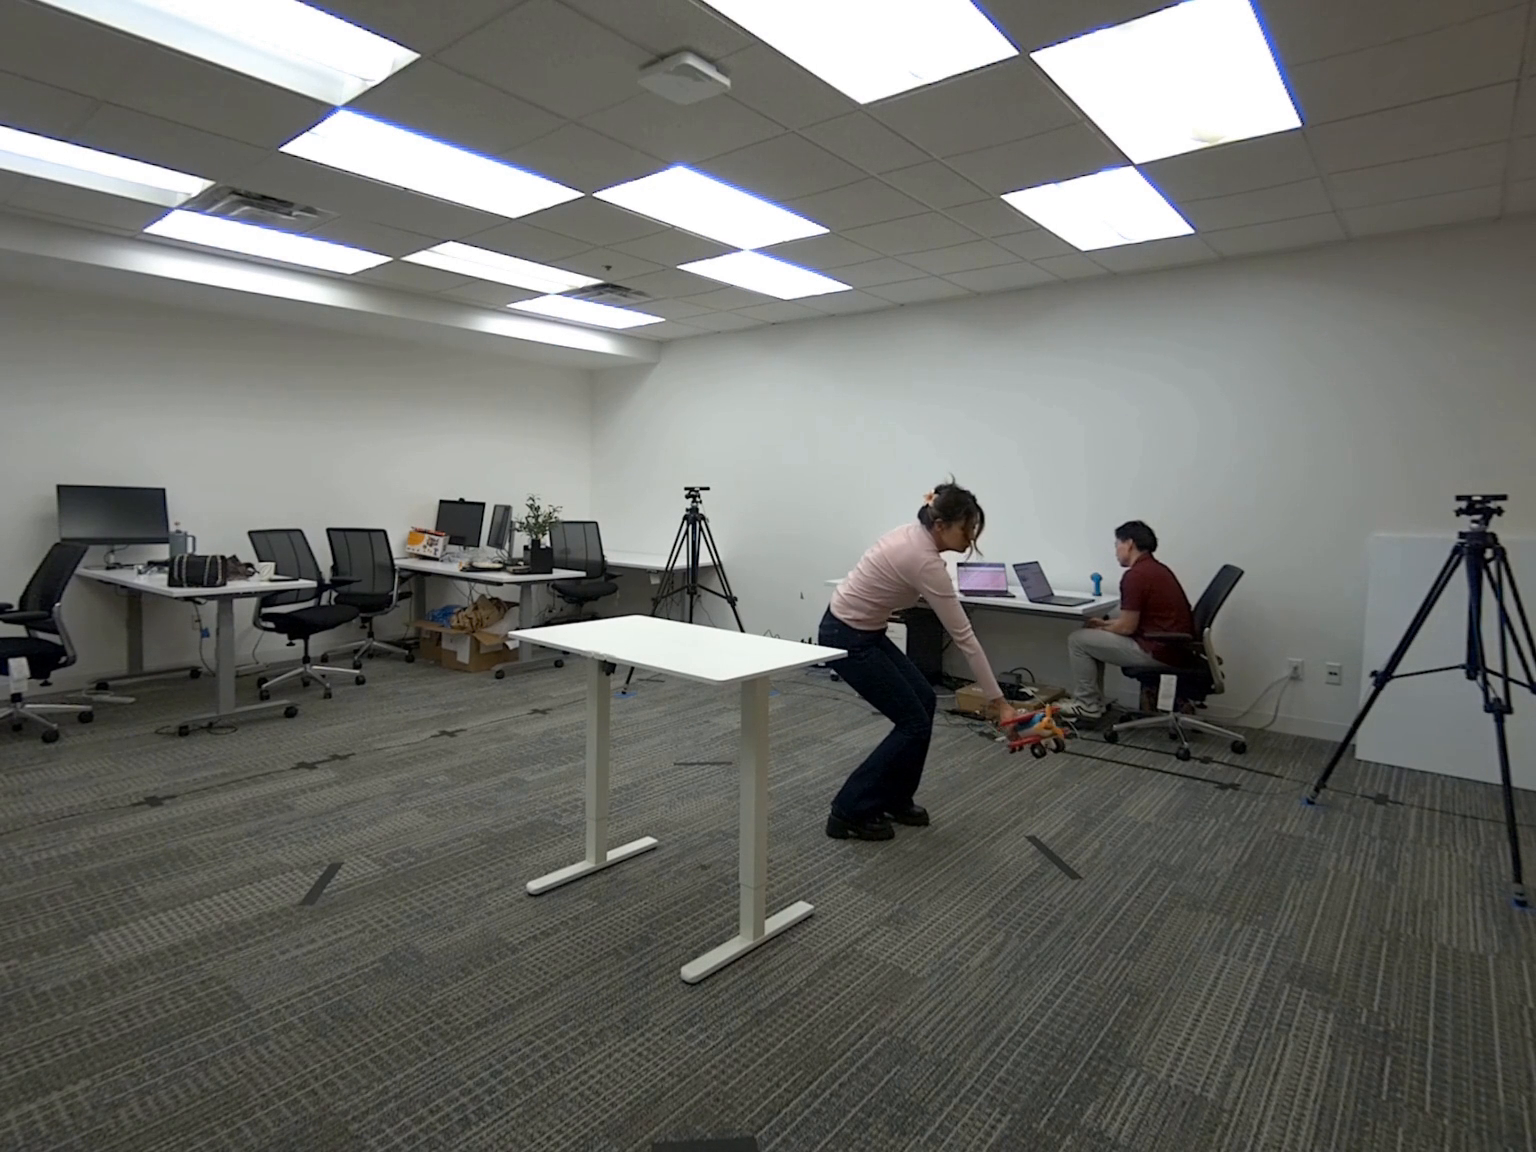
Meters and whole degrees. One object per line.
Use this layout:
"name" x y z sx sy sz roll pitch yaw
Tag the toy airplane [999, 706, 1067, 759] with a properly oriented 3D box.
"toy airplane" 0.927 0.565 3.067 0.266 0.157 0.244 -11 -2 39
